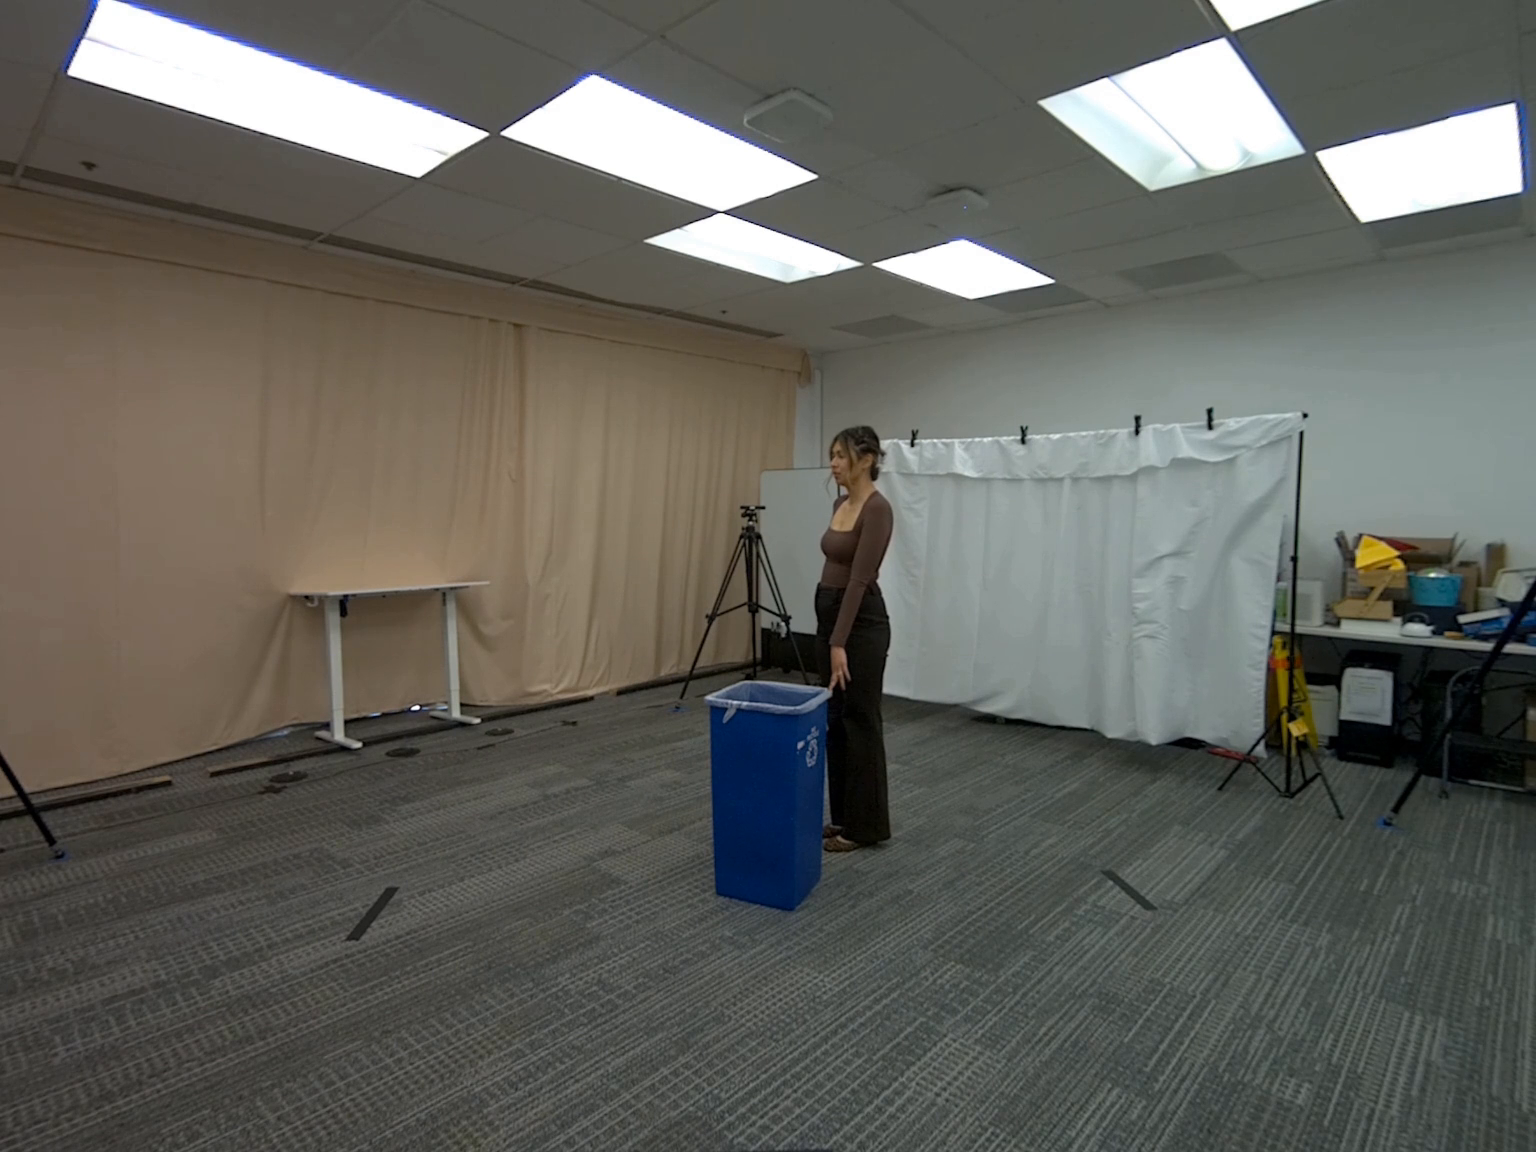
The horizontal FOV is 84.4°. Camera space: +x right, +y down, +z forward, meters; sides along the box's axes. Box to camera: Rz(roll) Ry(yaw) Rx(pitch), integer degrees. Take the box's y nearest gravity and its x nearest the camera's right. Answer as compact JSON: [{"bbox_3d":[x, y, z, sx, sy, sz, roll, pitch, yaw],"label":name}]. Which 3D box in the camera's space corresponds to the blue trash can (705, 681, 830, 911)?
[{"bbox_3d":[0.007,0.778,3.070,0.388,0.712,0.365,2,4,25],"label":"blue trash can"}]
